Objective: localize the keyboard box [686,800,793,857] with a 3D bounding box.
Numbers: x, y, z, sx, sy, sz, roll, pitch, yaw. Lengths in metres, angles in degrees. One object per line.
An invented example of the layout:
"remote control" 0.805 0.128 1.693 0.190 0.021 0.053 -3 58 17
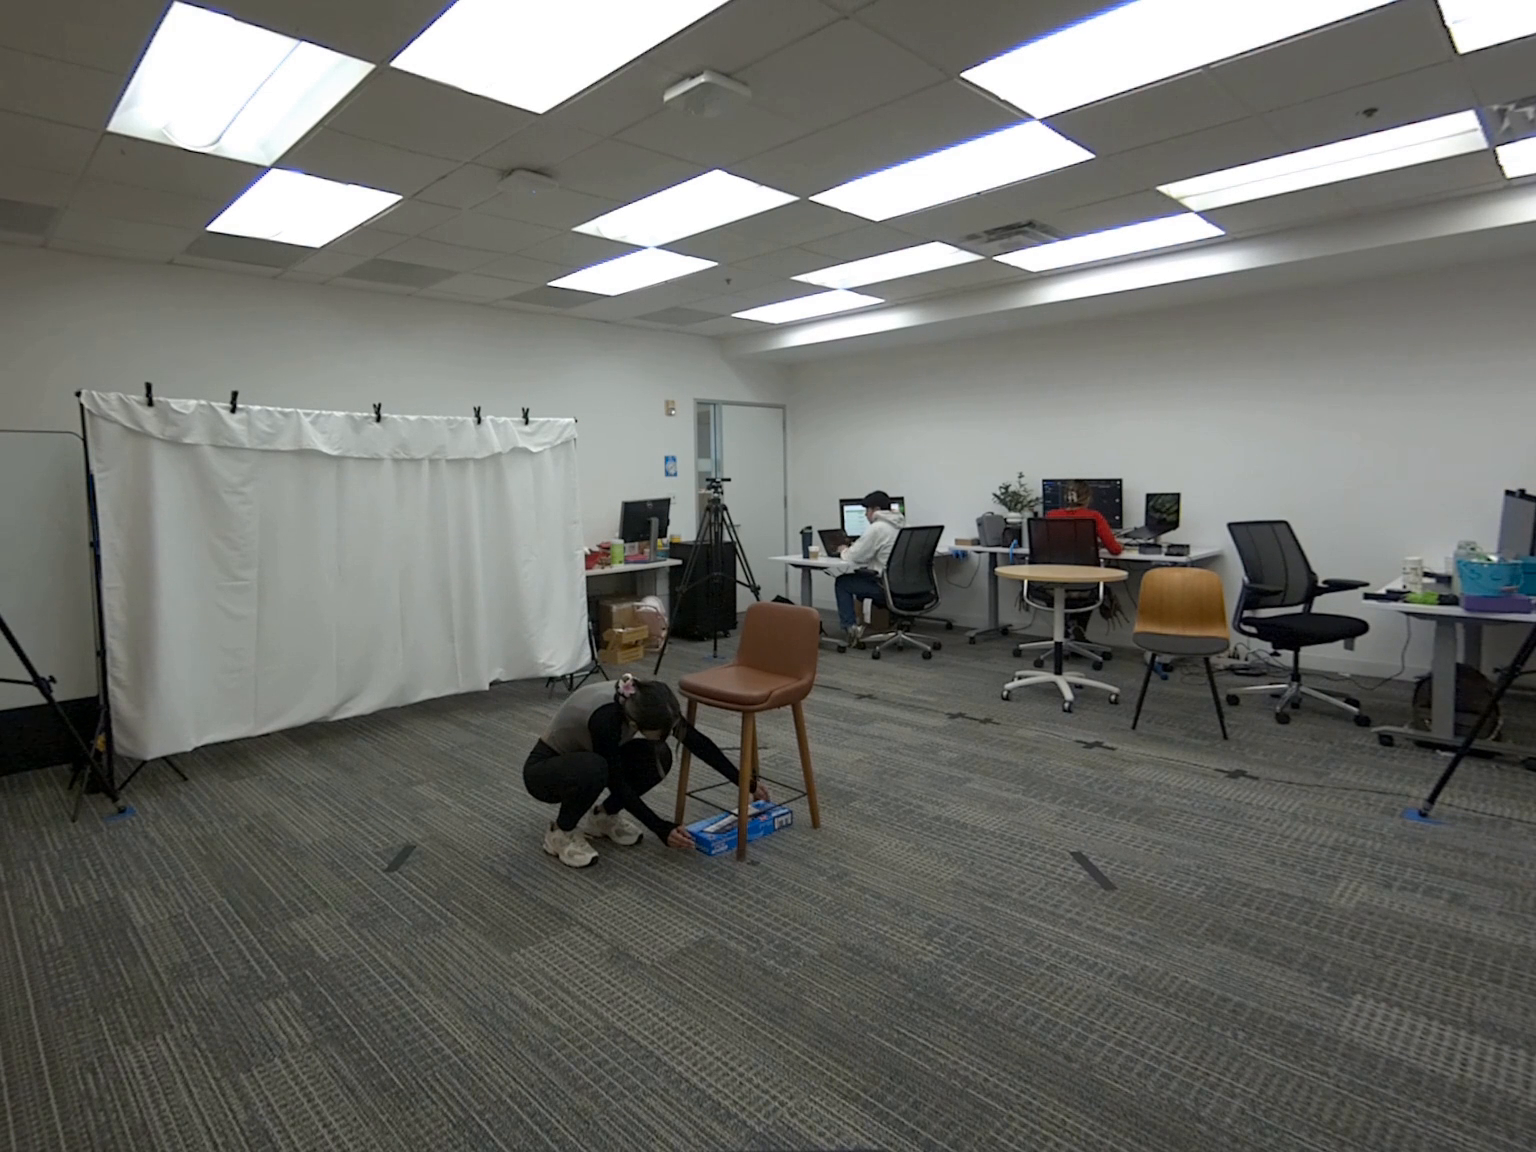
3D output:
"keyboard box" -0.119 0.979 3.362 0.425 0.059 0.181 -6 8 -41
